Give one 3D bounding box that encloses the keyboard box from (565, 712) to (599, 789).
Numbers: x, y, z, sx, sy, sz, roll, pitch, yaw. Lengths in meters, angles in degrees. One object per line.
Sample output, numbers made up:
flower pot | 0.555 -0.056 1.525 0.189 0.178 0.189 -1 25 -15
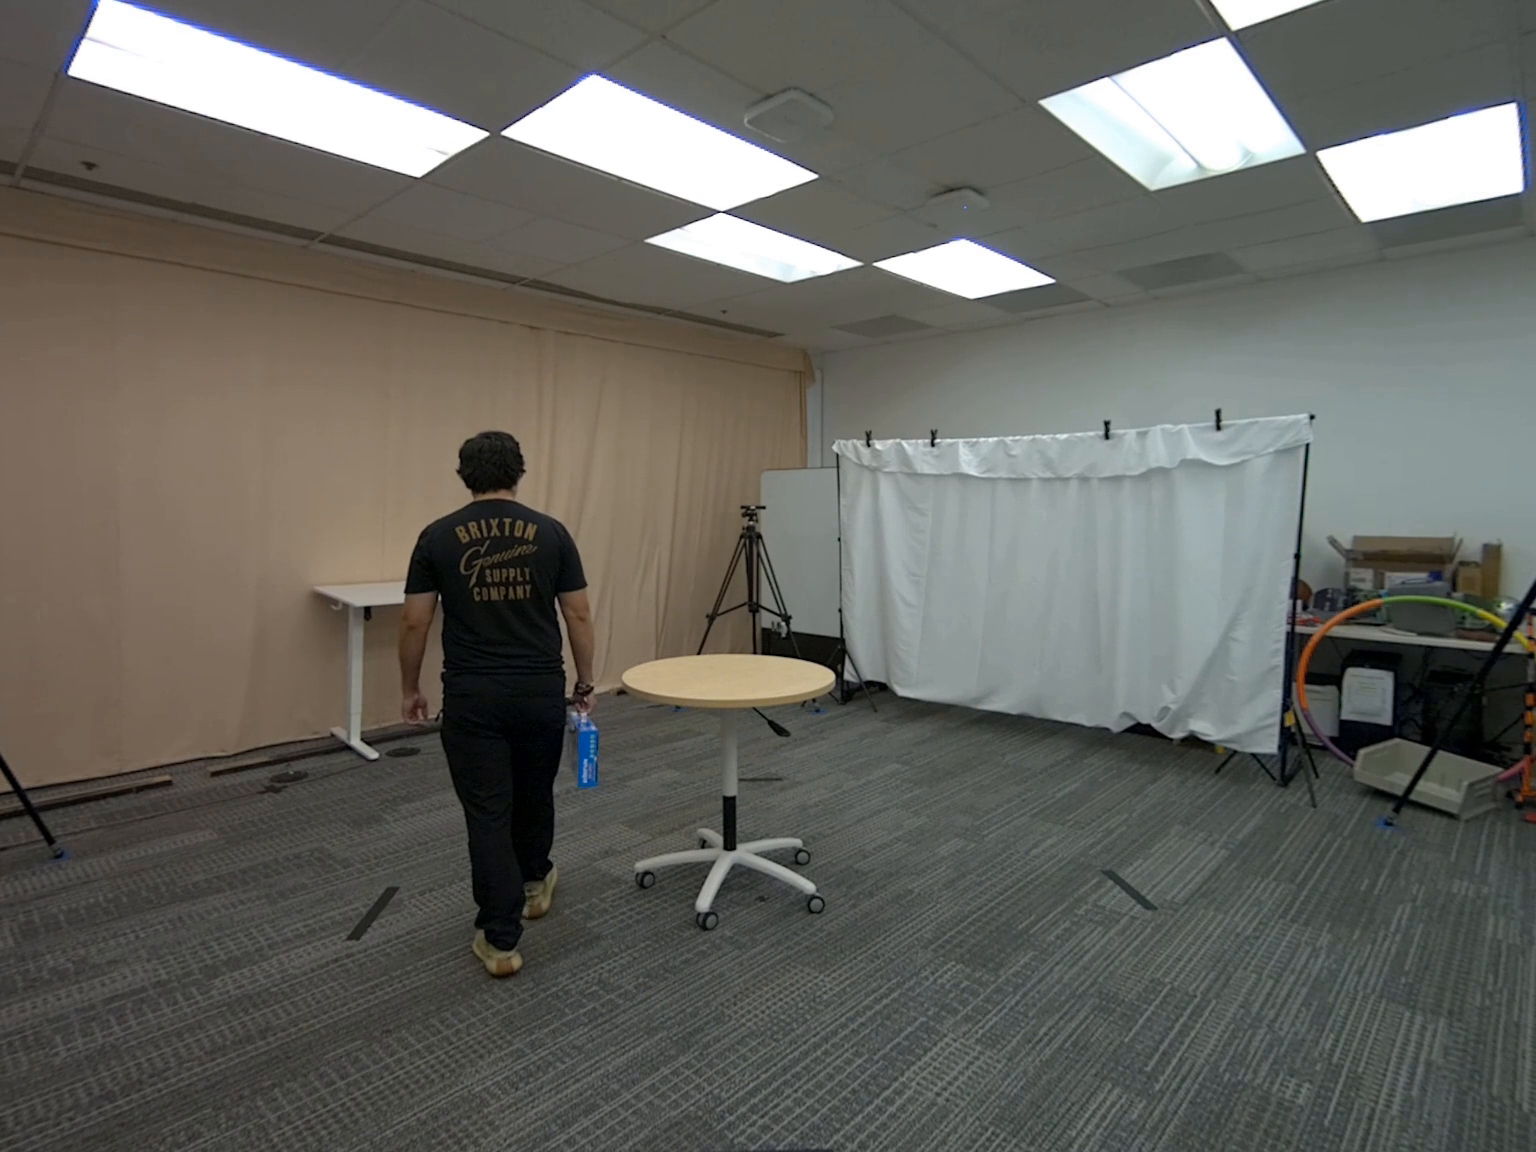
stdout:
keyboard box | -0.619 0.566 2.795 0.058 0.176 0.443 -1 1 -16
